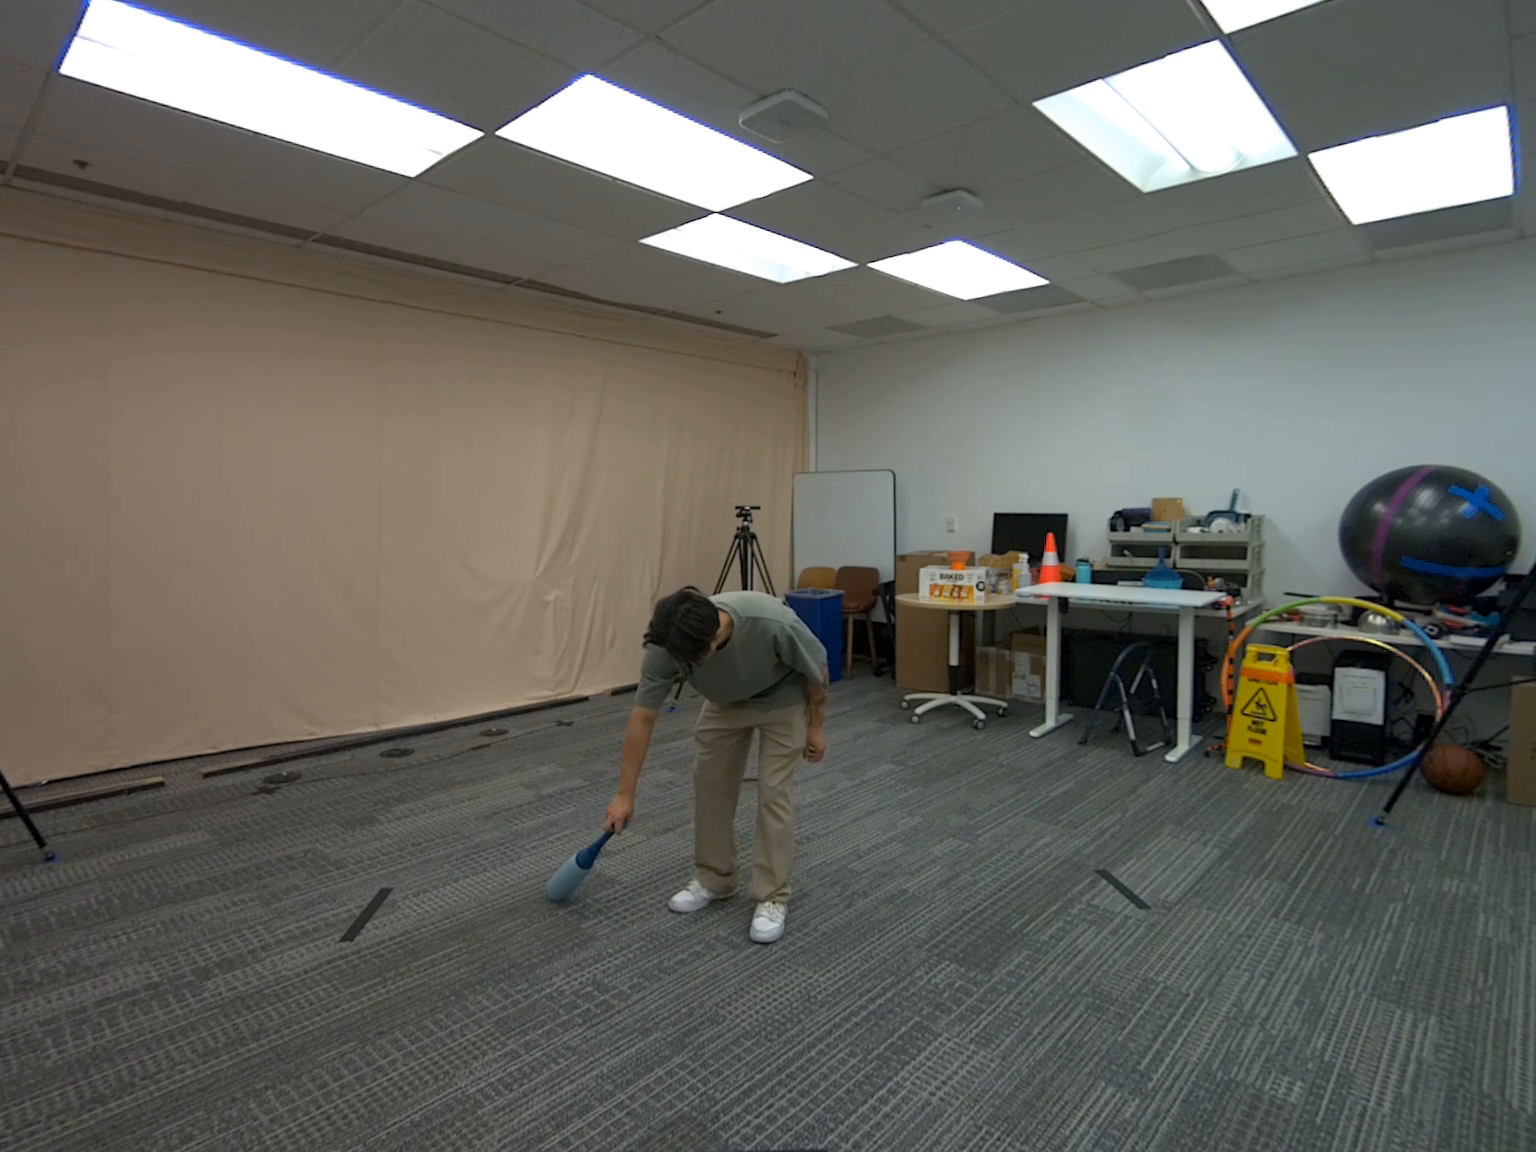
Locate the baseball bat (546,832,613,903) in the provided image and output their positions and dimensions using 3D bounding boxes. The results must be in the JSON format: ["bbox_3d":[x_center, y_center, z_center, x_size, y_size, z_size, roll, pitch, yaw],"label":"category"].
[{"bbox_3d":[-0.611,0.962,2.855,0.086,0.091,0.546,-3,-36,-45],"label":"baseball bat"}]
